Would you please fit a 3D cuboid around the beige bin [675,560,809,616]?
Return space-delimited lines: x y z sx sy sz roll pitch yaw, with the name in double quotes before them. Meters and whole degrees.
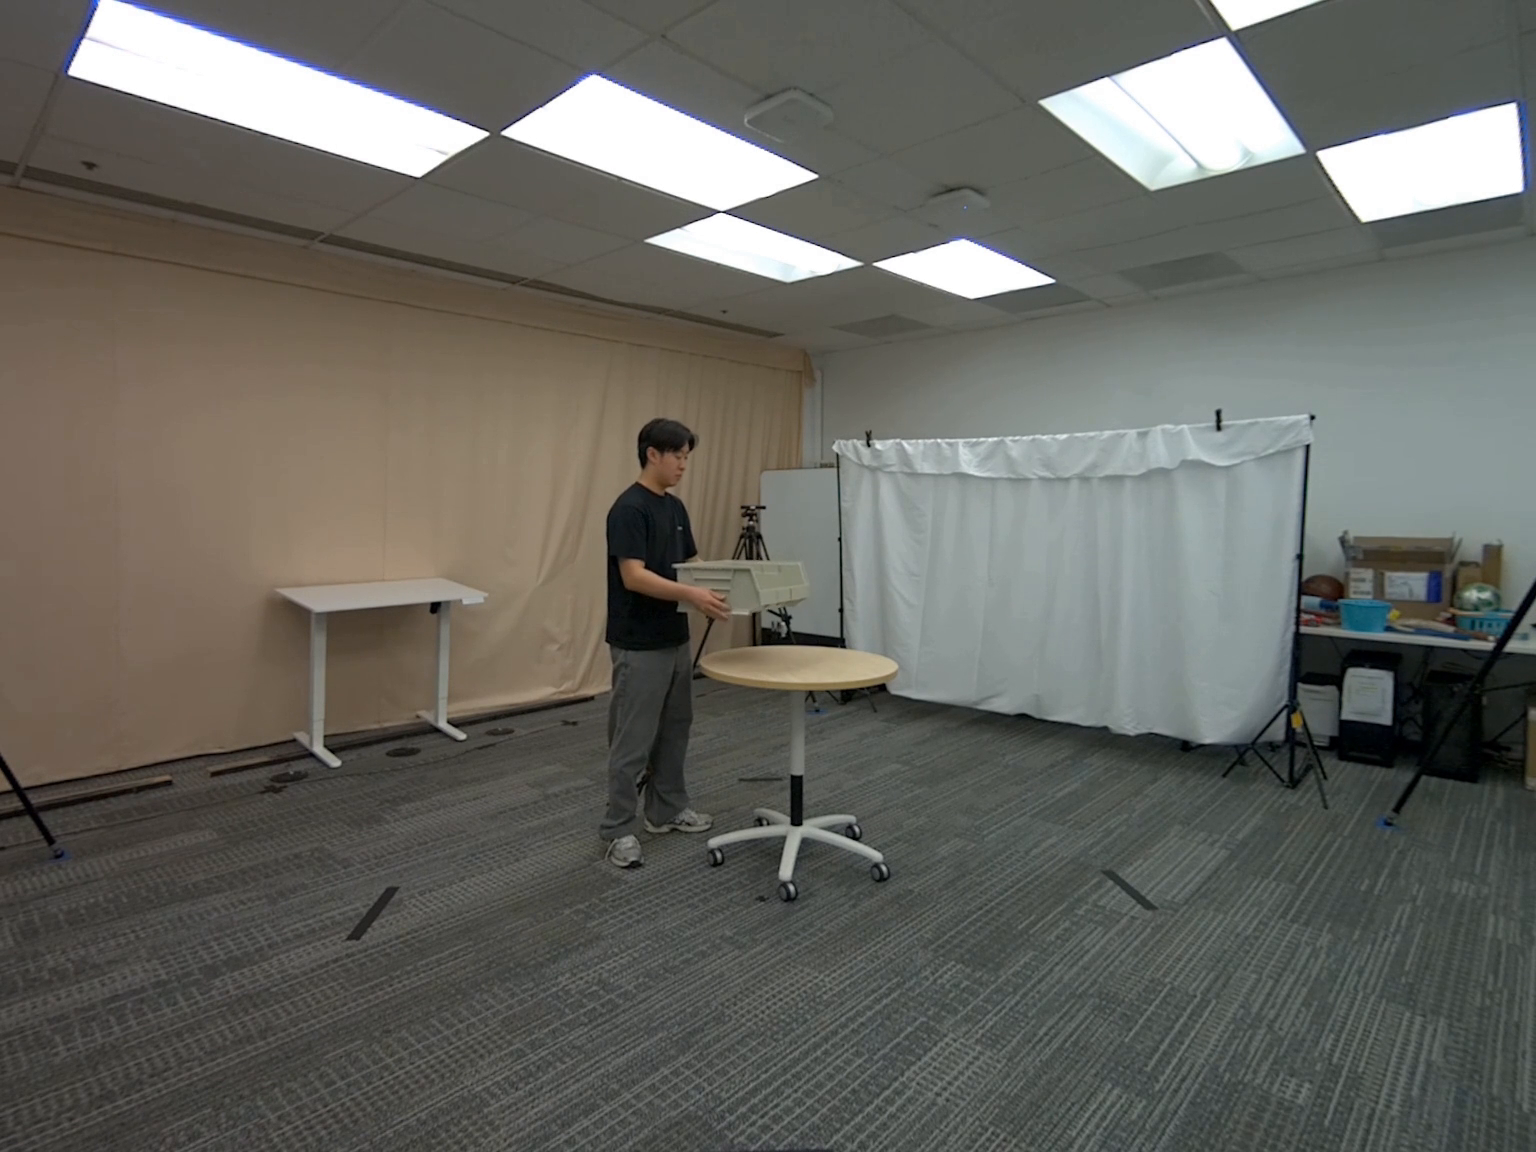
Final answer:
"beige bin" -0.088 0.043 3.281 0.388 0.188 0.411 1 4 31
